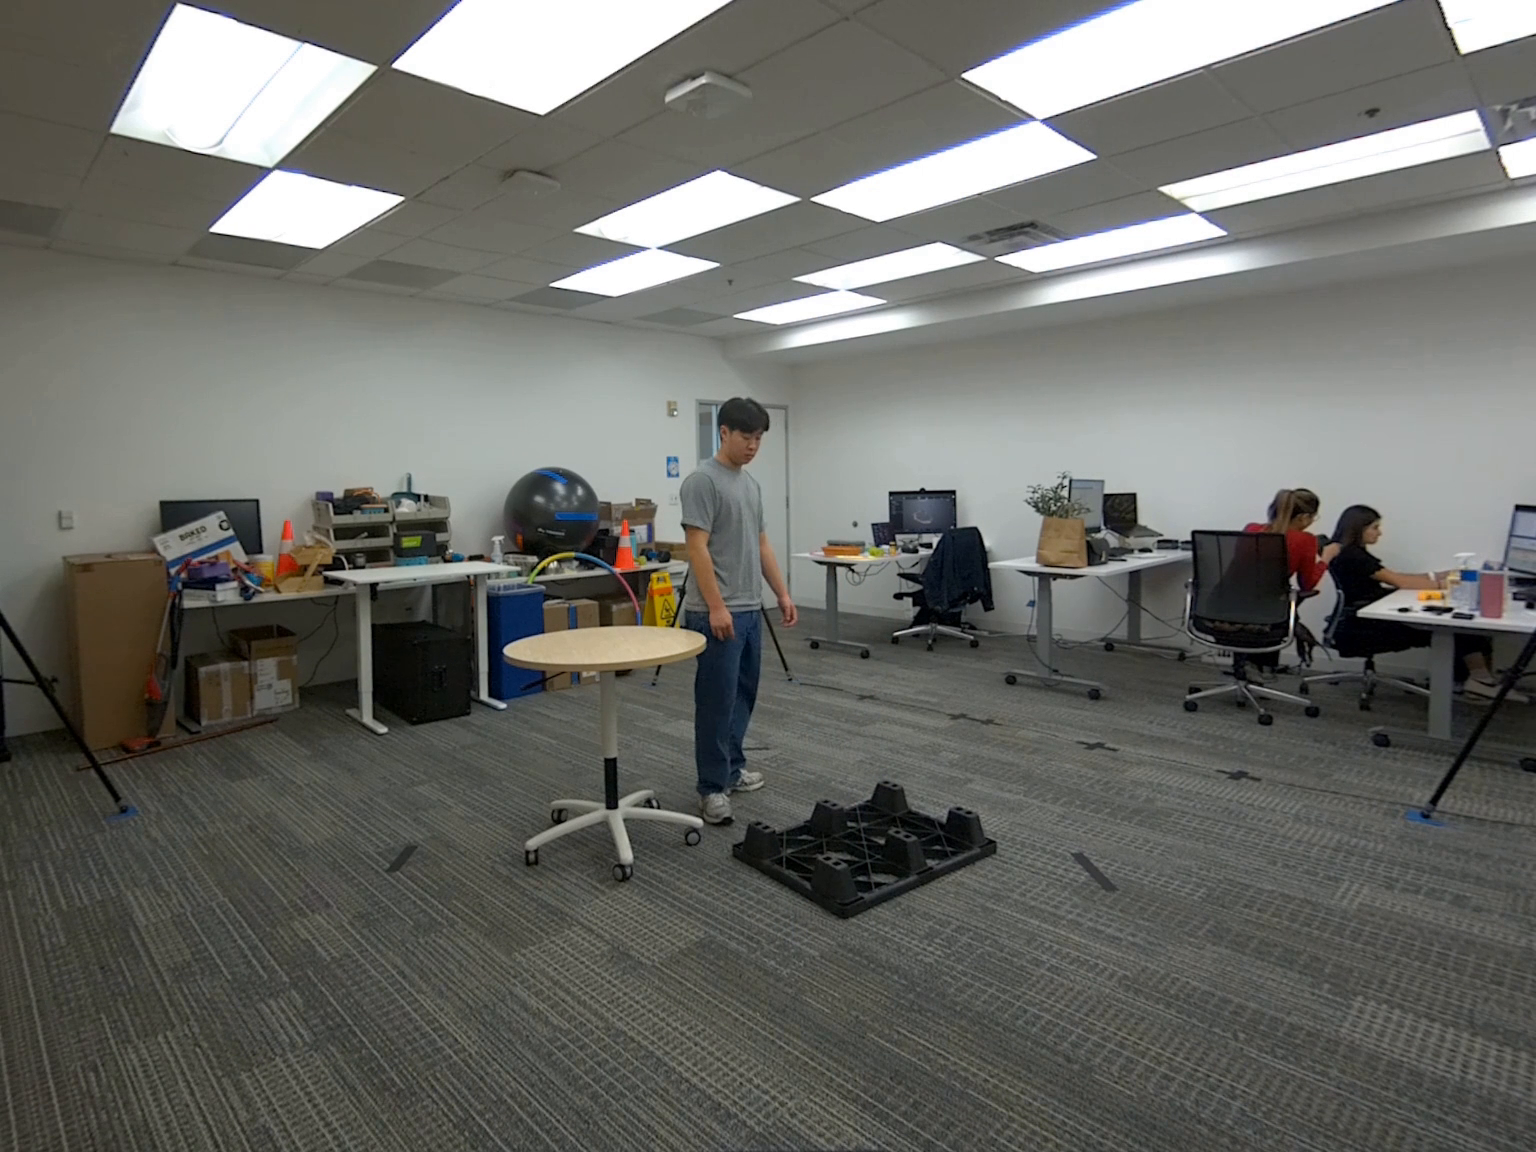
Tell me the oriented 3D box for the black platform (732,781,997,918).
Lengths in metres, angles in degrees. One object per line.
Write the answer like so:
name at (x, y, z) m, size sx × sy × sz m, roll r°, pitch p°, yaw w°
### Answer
black platform at (0.358, 0.965, 3.168) m, size 0.785 × 0.142 × 0.624 m, roll -6°, pitch 8°, yaw -38°
